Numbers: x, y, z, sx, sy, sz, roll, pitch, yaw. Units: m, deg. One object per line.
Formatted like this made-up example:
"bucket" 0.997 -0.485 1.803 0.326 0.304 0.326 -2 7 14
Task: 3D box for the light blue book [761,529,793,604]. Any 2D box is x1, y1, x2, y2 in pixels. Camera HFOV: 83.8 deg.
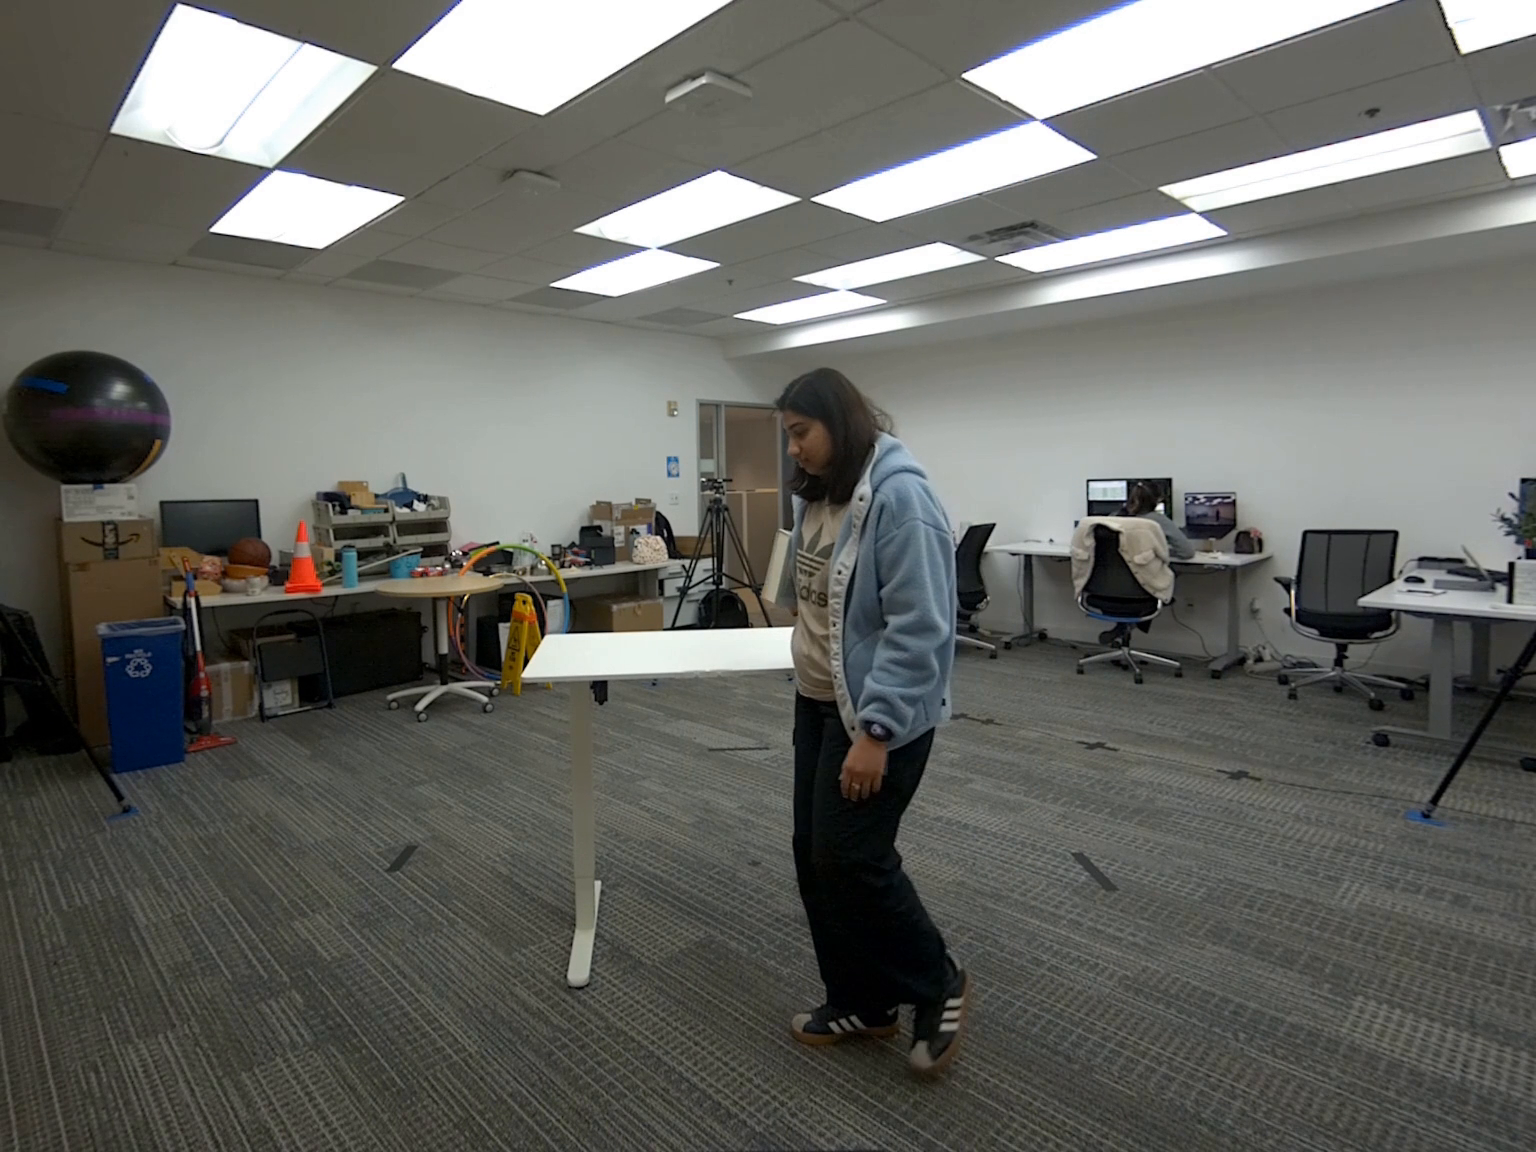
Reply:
"light blue book" 0.140 -0.012 2.260 0.254 0.191 0.061 9 5 -30
